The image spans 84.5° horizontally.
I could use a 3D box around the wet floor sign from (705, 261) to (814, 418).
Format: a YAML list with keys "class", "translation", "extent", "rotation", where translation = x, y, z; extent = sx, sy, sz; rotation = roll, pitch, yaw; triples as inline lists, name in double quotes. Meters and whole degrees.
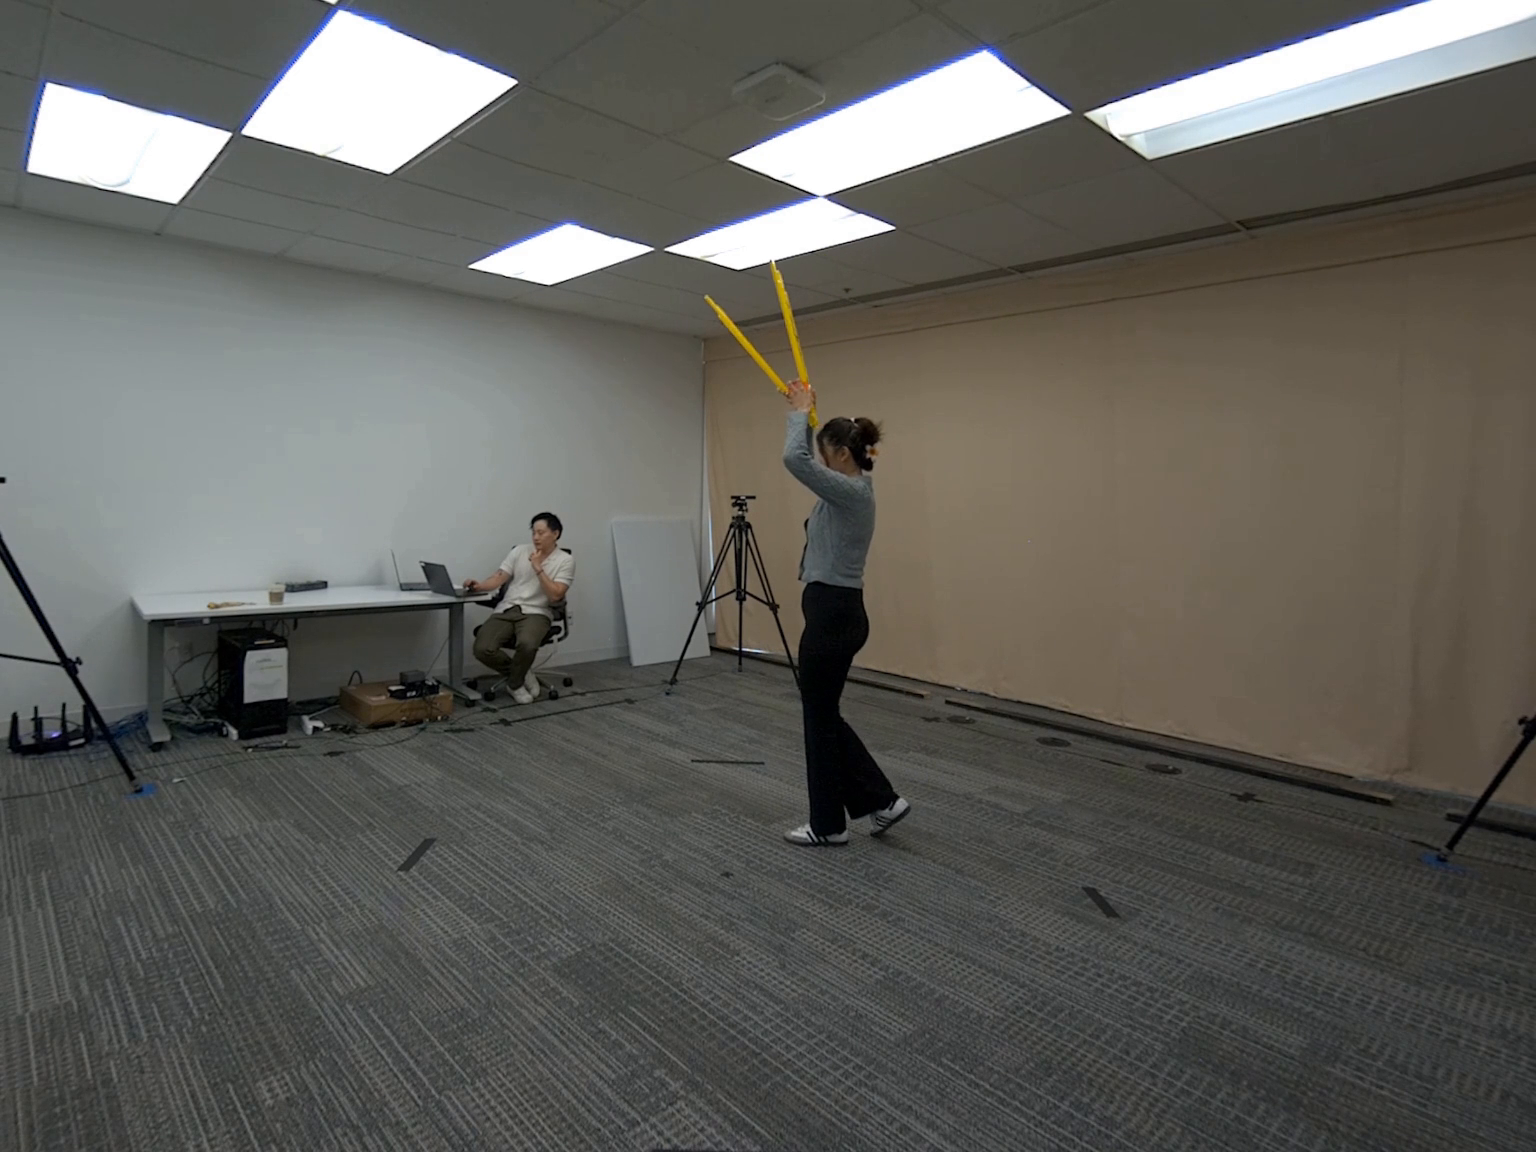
- class: "wet floor sign"
  translation: [0.043, -0.883, 3.378]
  extent: [0.291, 0.647, 0.281]
  rotation: [-28, -1, 11]
